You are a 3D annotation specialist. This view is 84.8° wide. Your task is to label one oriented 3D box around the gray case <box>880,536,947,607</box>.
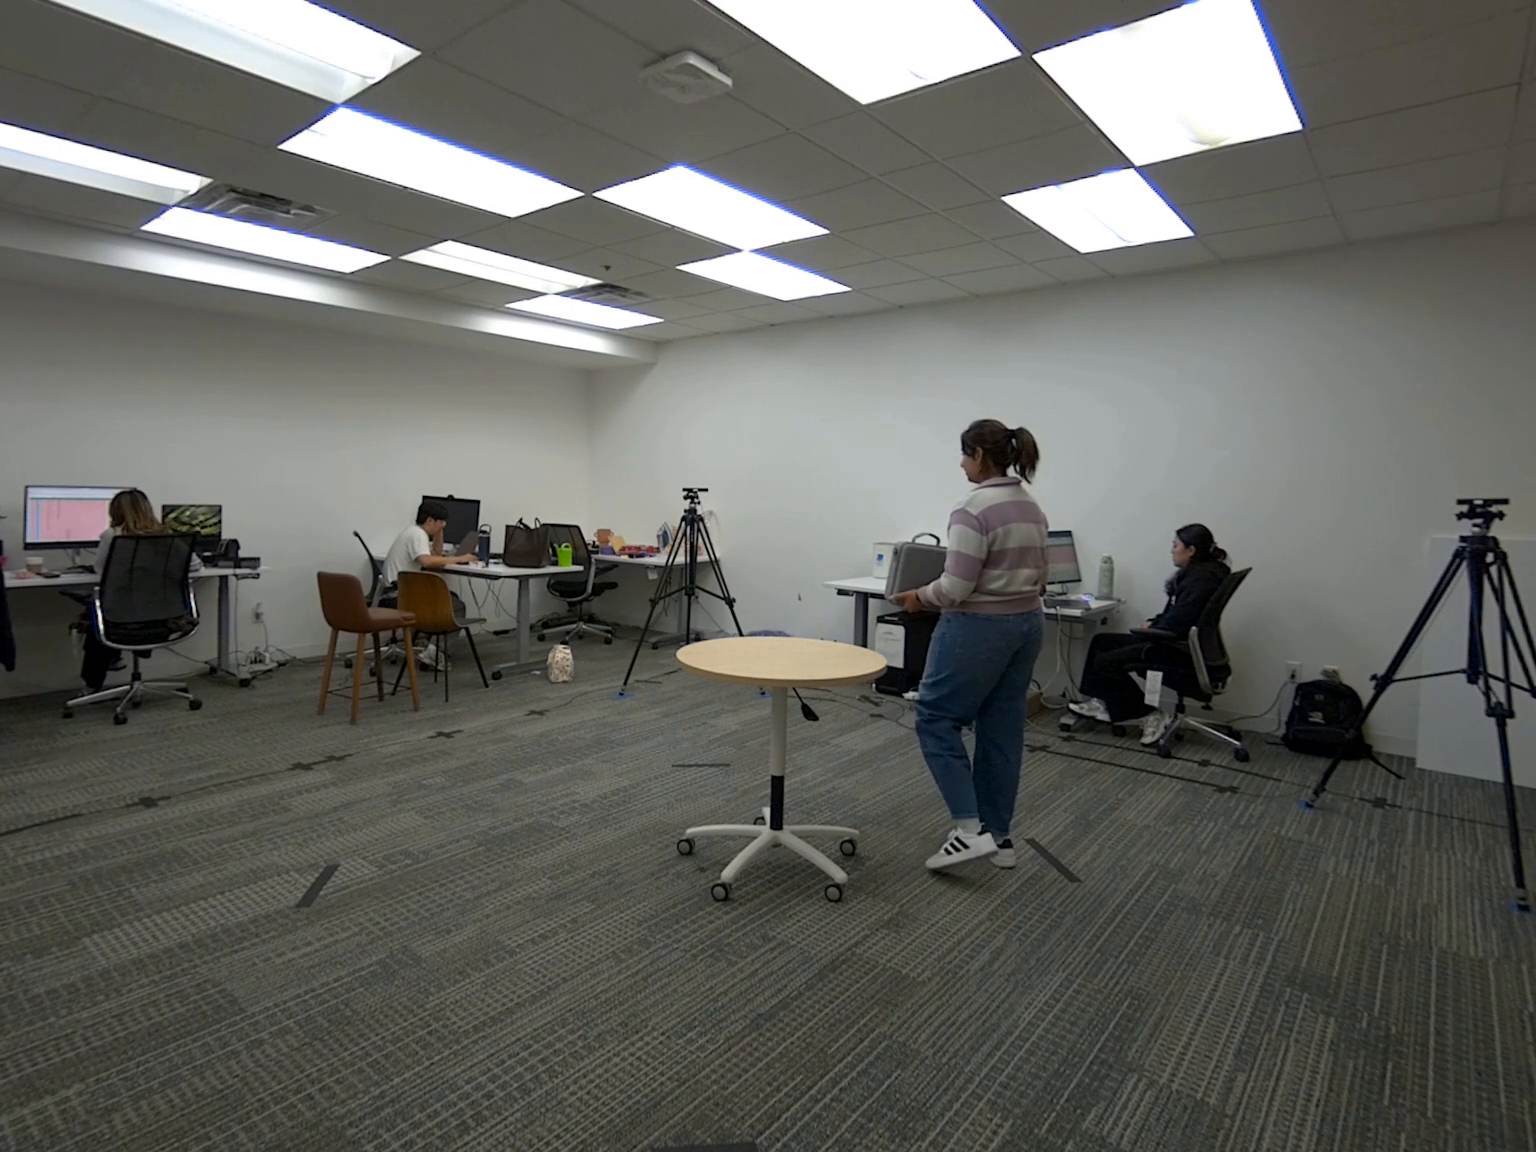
[{"bbox_3d":[0.613,-0.009,3.394,0.252,0.259,0.107,7,7,-18],"label":"gray case"}]
